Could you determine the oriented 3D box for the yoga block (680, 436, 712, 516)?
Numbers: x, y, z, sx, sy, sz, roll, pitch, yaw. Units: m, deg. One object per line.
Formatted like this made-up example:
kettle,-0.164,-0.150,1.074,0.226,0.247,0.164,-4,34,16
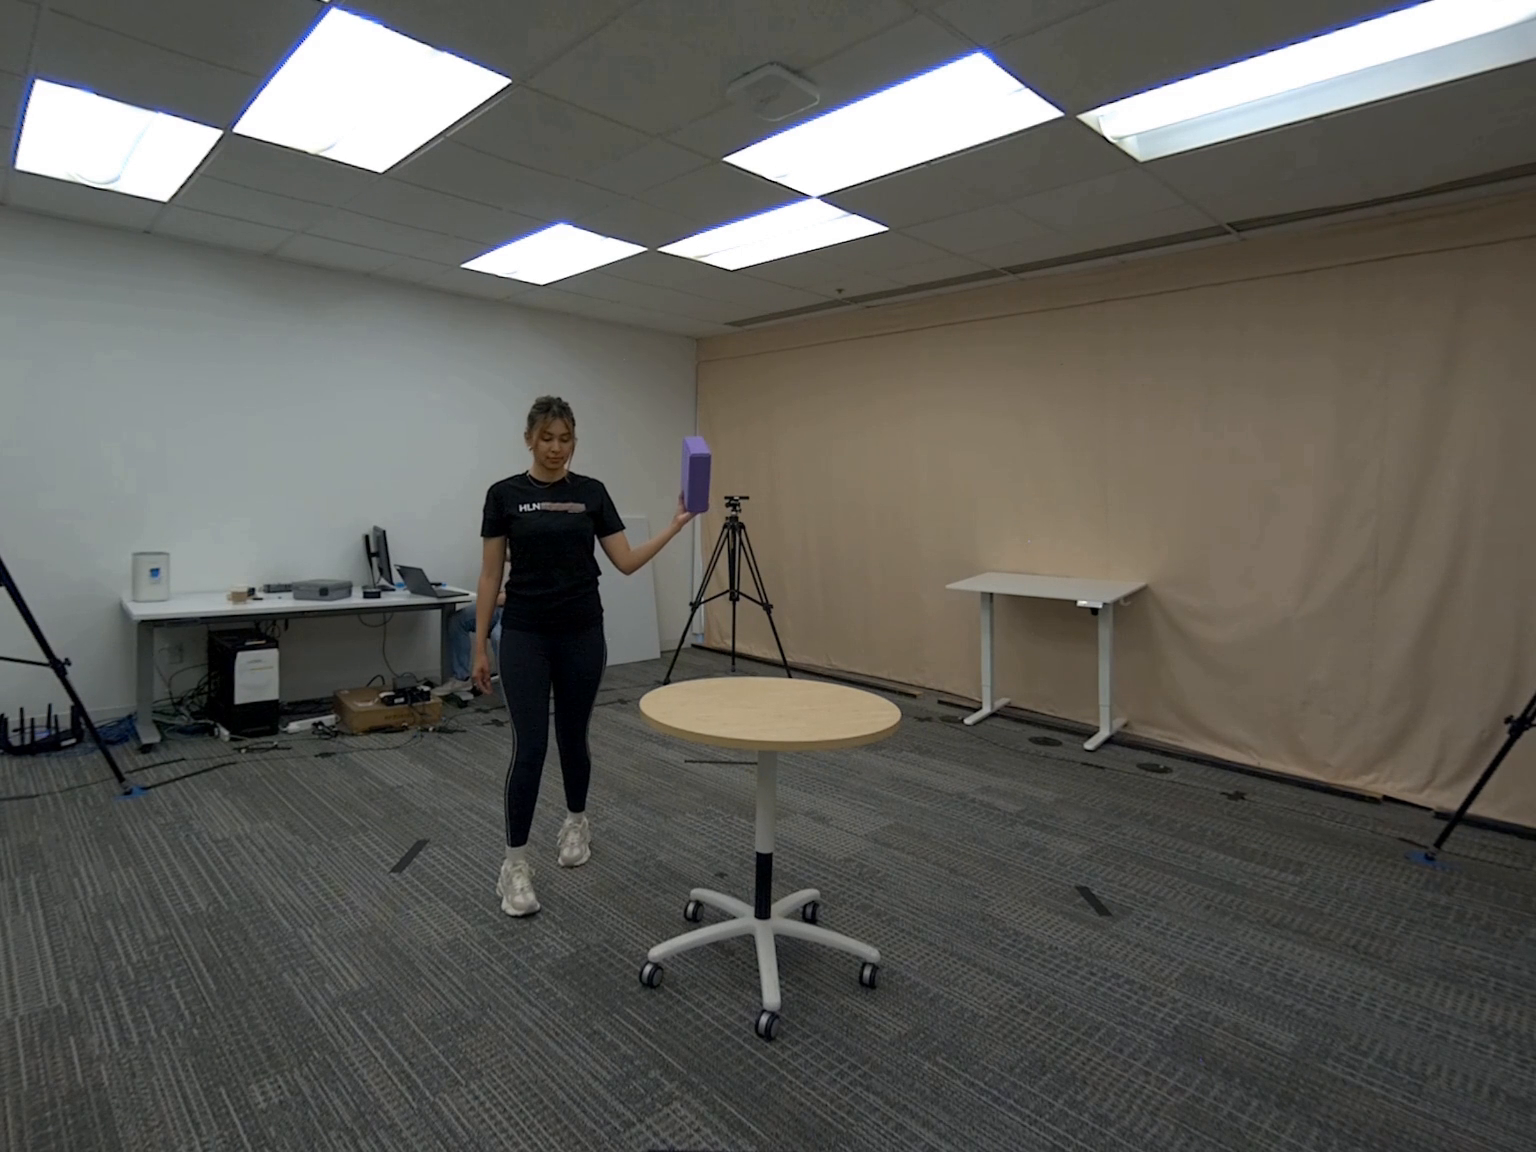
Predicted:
yoga block,-0.259,-0.356,2.935,0.075,0.225,0.153,-4,33,-15
